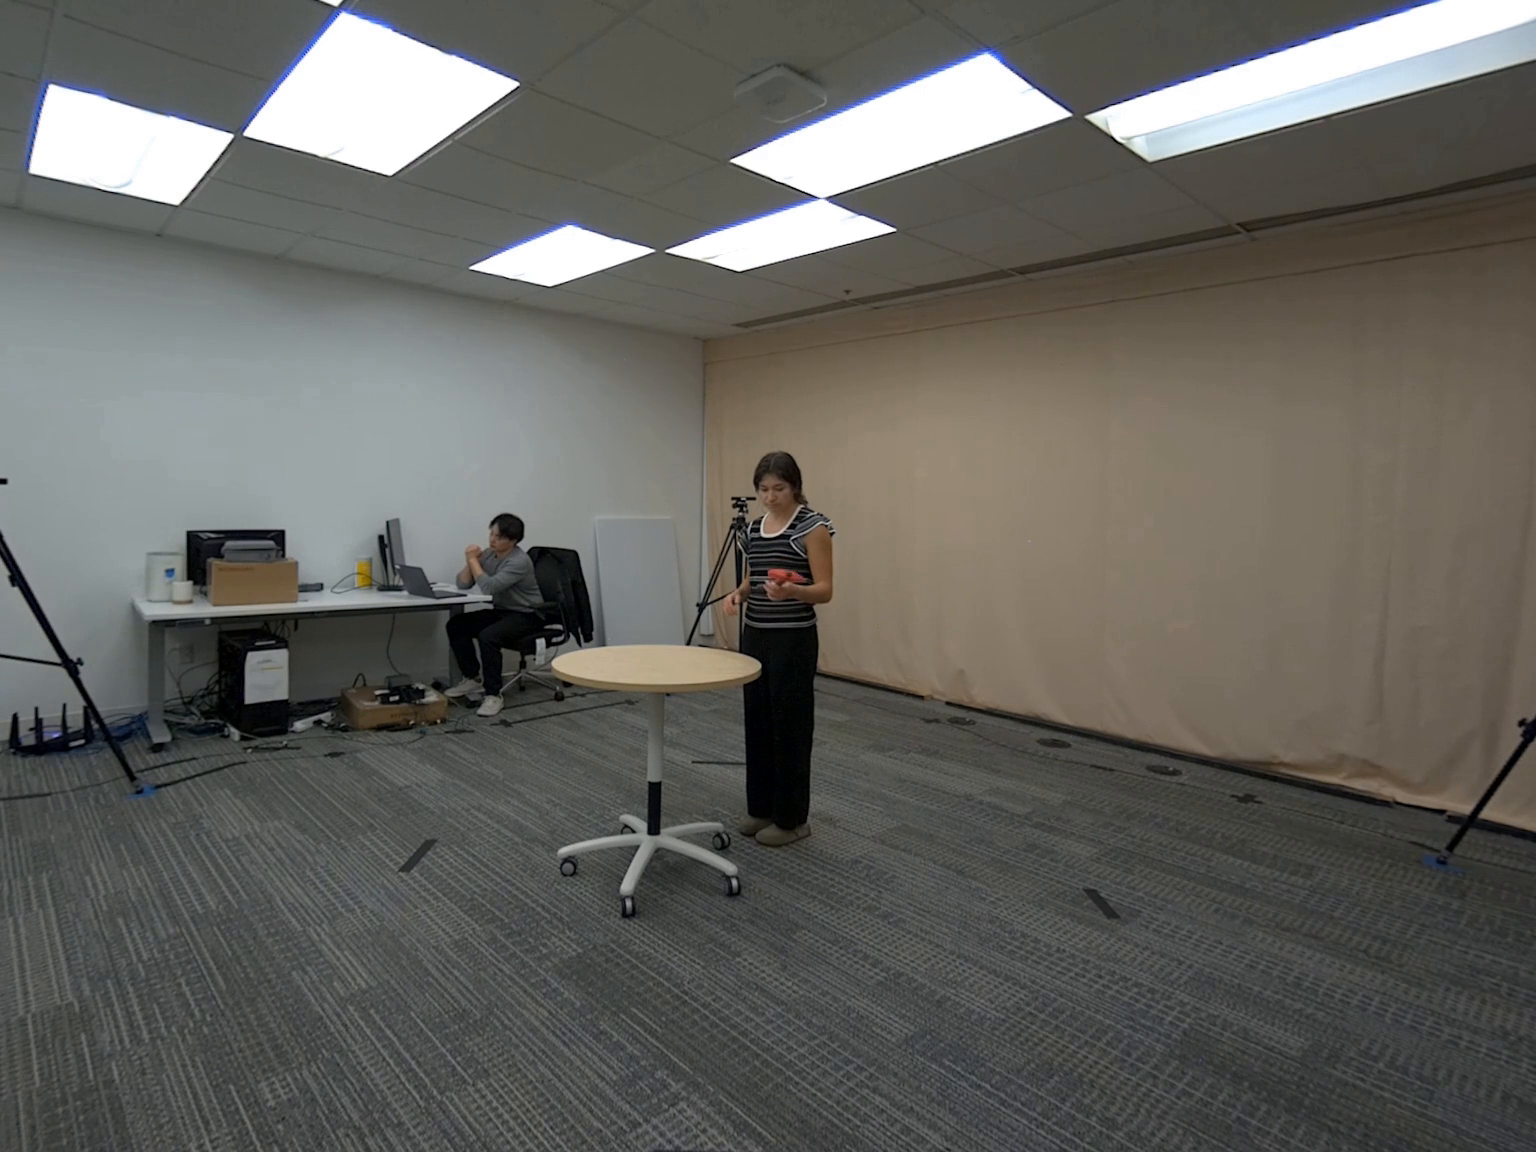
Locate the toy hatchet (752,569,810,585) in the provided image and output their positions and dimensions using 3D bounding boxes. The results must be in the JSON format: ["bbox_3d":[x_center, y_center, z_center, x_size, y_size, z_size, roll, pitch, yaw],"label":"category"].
[{"bbox_3d":[-0.006,0.015,3.074,0.128,0.030,0.274,13,-14,-28],"label":"toy hatchet"}]
